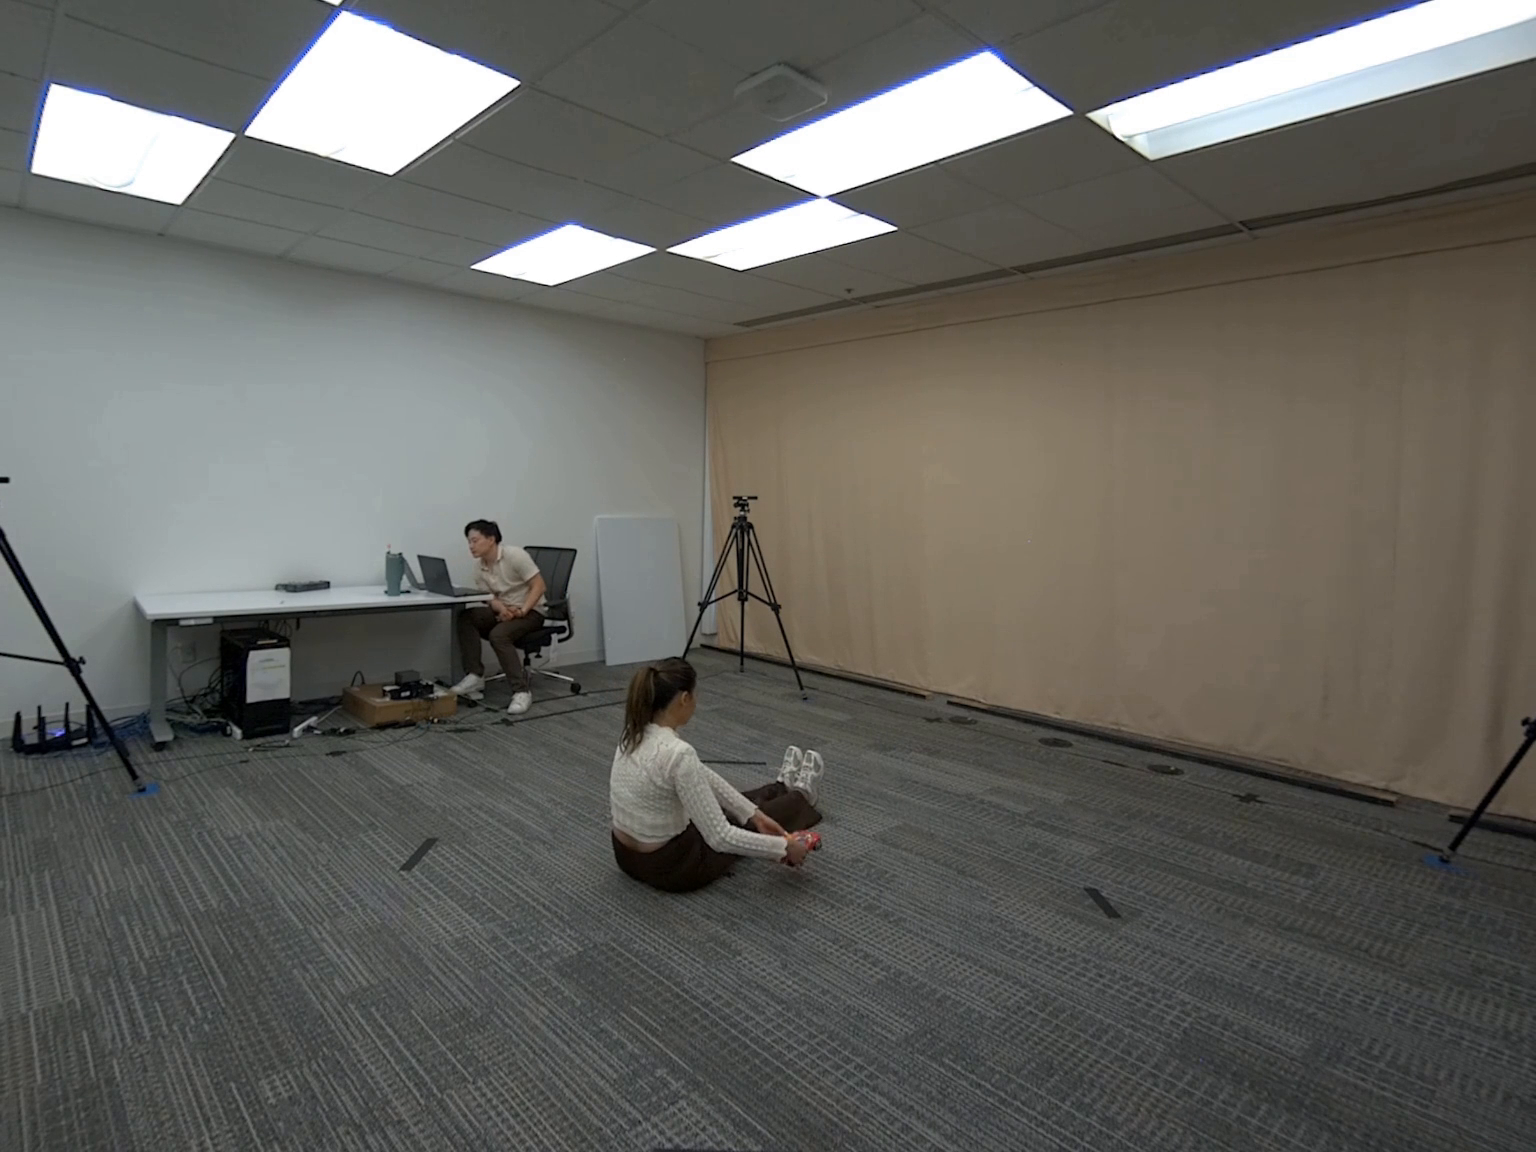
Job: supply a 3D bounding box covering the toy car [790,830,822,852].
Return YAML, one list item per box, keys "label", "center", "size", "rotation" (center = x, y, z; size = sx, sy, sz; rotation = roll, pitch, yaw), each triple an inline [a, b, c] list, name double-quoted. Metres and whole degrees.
- label: "toy car"
  center: [0.070, 0.992, 3.055]
  size: [0.133, 0.083, 0.248]
  rotation: [3, 1, 43]
